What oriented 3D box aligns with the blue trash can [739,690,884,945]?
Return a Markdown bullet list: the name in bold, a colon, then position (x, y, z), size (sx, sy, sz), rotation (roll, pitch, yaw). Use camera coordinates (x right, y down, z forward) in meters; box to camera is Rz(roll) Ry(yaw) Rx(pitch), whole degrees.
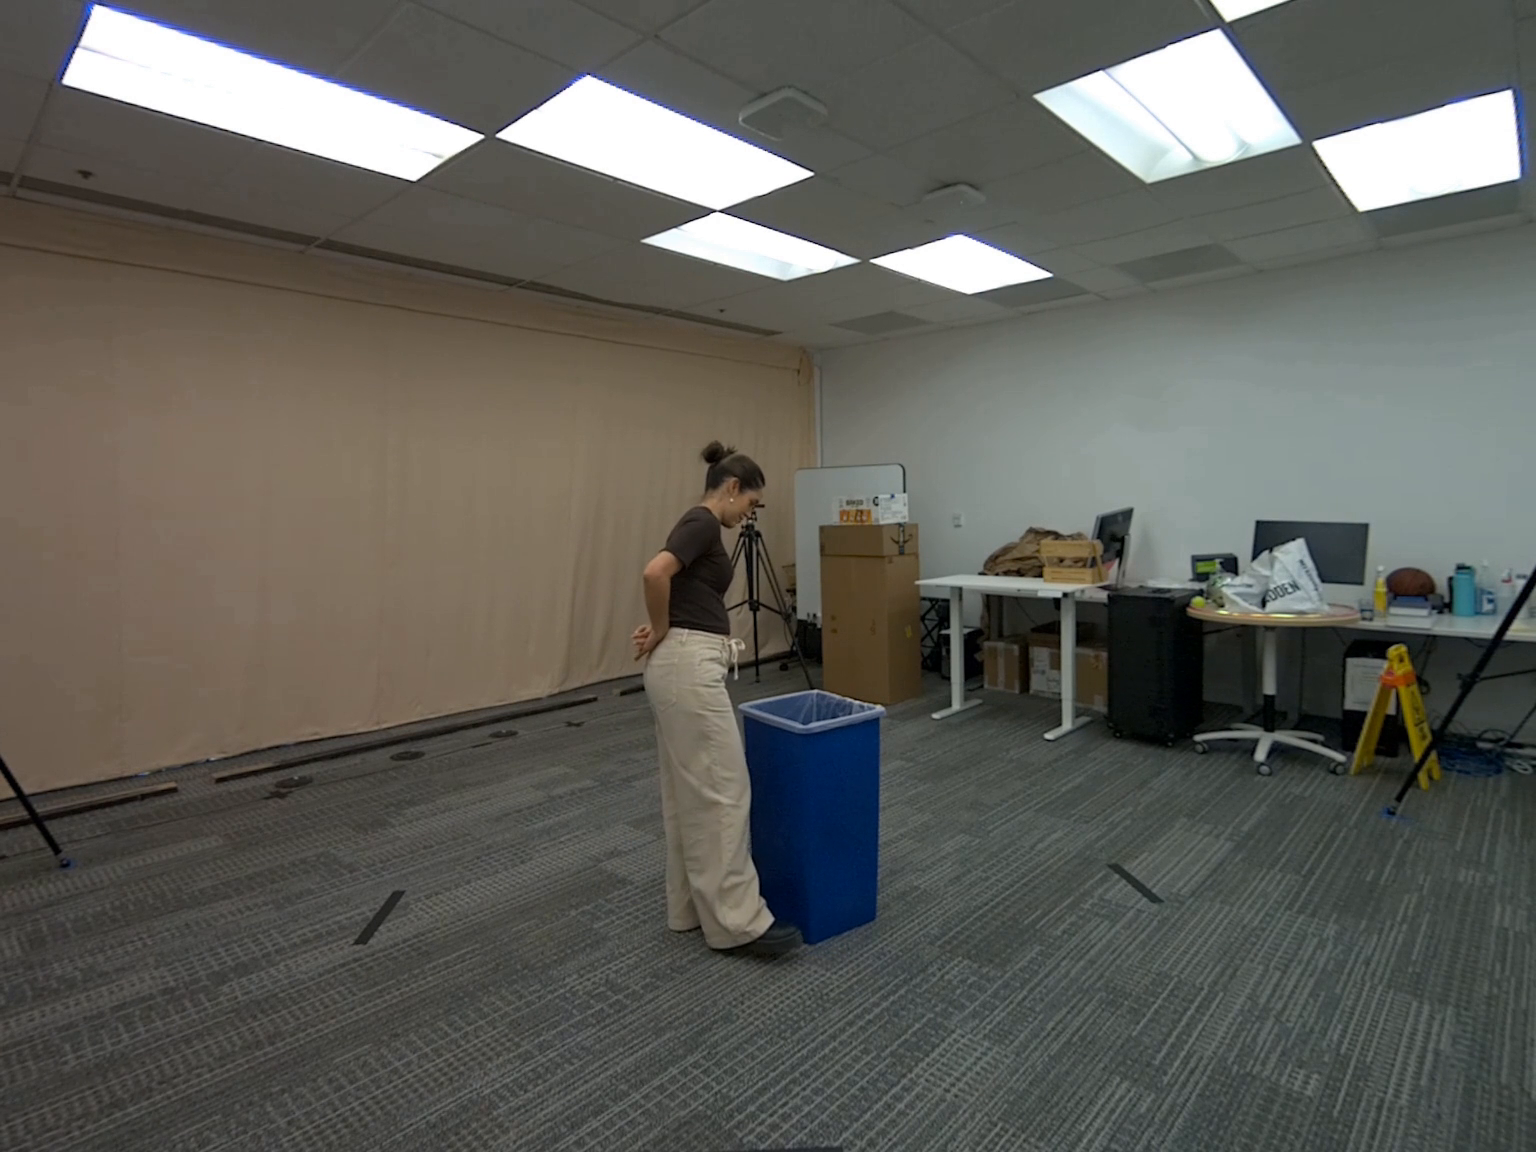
- **blue trash can**: position (0.151, 0.792, 2.838), size (0.367, 0.712, 0.386), rotation (-3, 4, -35)
